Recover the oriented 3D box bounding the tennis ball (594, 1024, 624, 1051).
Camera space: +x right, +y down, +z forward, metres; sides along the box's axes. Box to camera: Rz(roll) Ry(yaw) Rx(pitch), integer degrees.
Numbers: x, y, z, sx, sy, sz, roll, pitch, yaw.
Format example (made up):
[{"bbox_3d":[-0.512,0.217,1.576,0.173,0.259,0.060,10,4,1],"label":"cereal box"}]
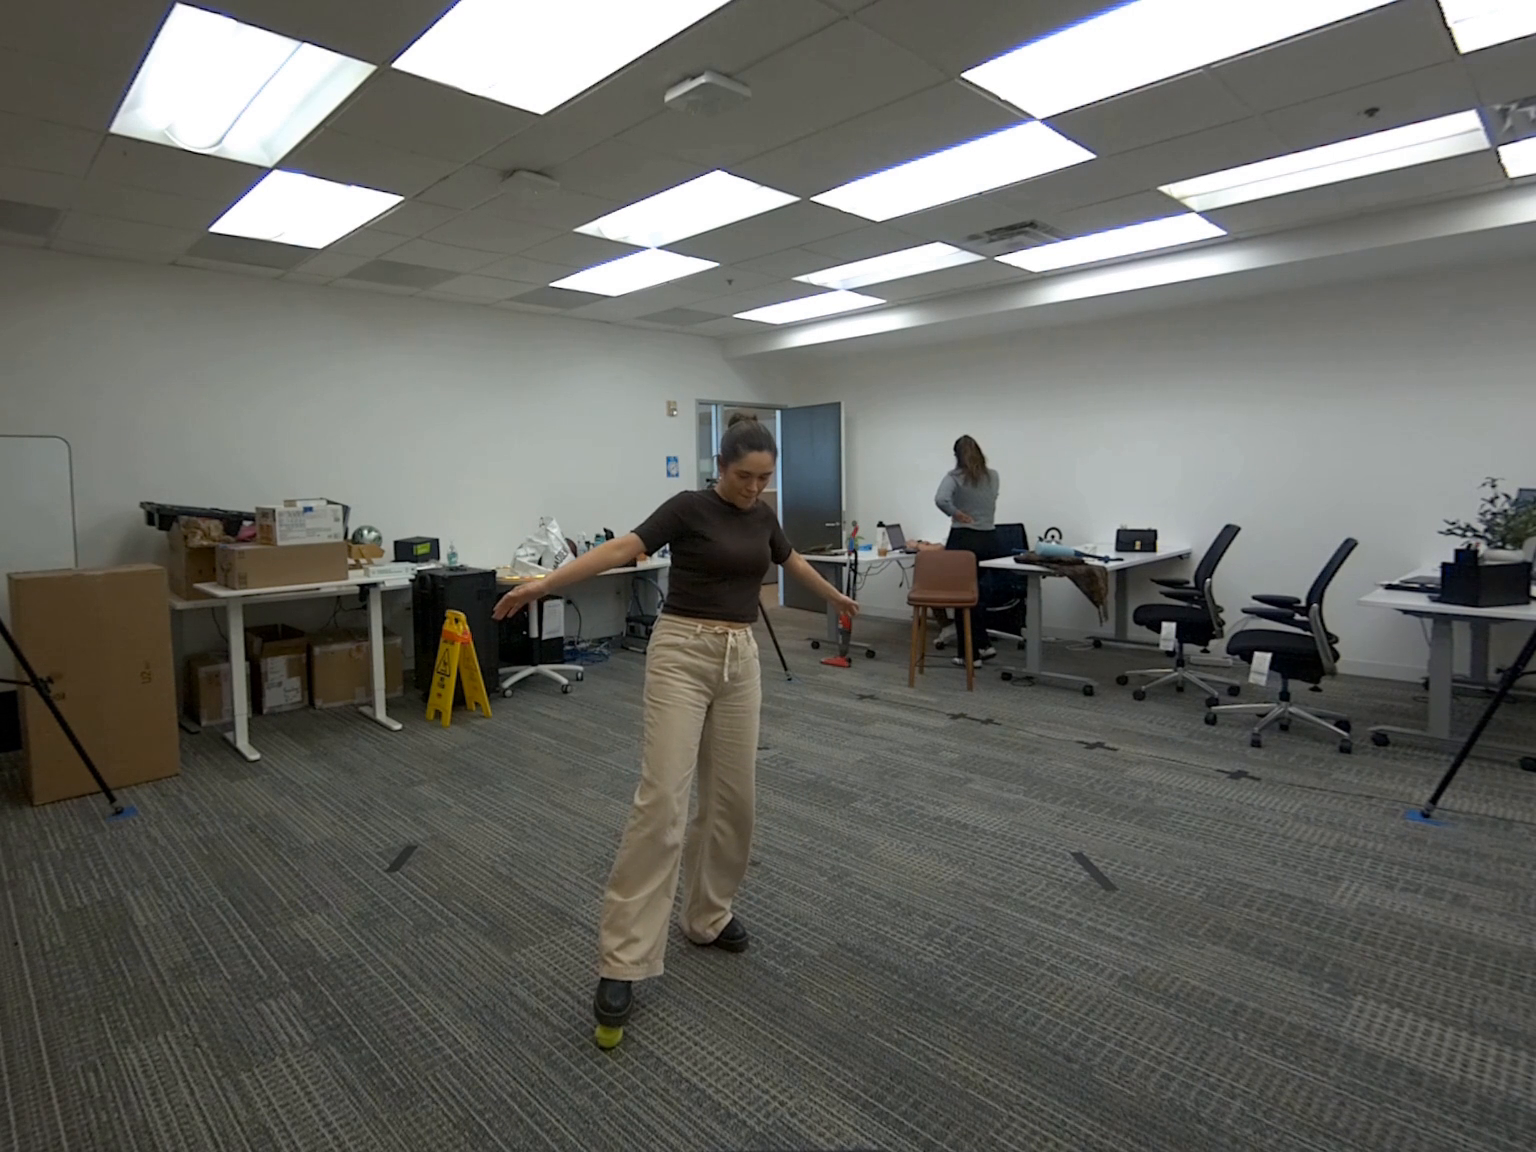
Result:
[{"bbox_3d":[-0.392,1.124,2.128,0.066,0.066,0.067,-1,5,-2],"label":"tennis ball"}]
